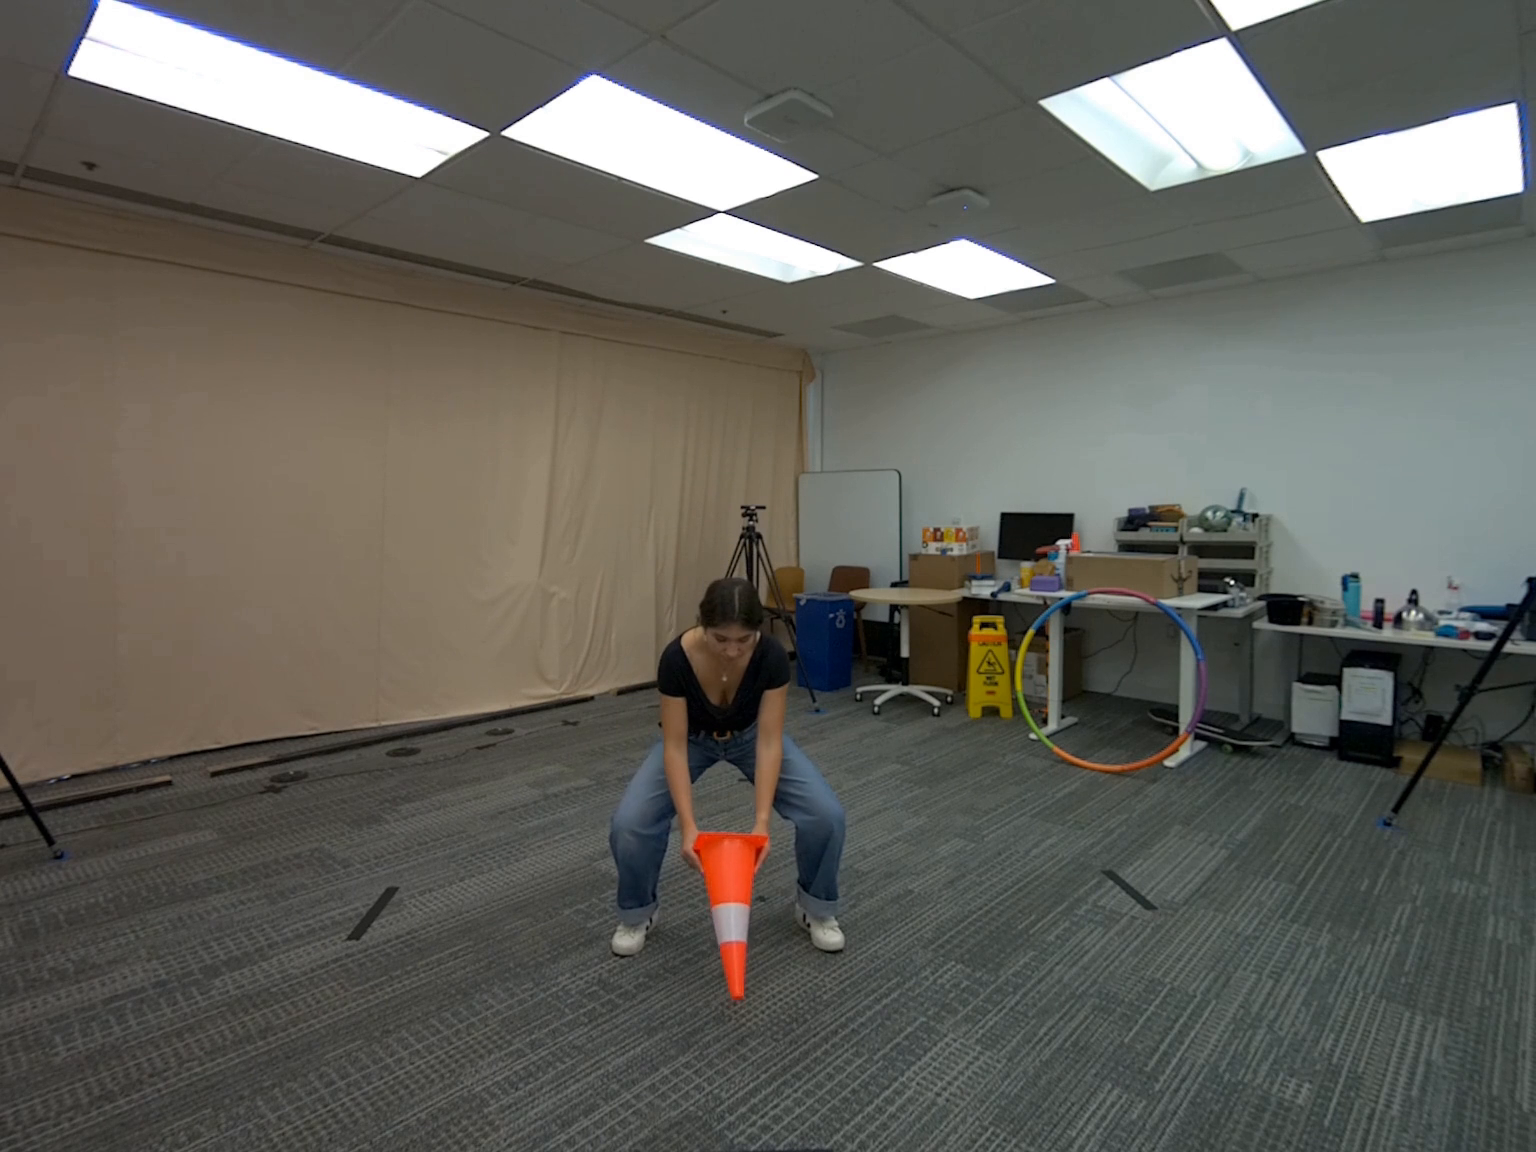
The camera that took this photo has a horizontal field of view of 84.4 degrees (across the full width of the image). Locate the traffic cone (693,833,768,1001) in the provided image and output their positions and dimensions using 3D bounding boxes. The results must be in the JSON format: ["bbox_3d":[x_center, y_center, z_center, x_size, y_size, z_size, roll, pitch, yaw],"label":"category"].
[{"bbox_3d":[-0.087,0.895,2.211,0.200,0.392,0.204,6,-42,-16],"label":"traffic cone"}]
